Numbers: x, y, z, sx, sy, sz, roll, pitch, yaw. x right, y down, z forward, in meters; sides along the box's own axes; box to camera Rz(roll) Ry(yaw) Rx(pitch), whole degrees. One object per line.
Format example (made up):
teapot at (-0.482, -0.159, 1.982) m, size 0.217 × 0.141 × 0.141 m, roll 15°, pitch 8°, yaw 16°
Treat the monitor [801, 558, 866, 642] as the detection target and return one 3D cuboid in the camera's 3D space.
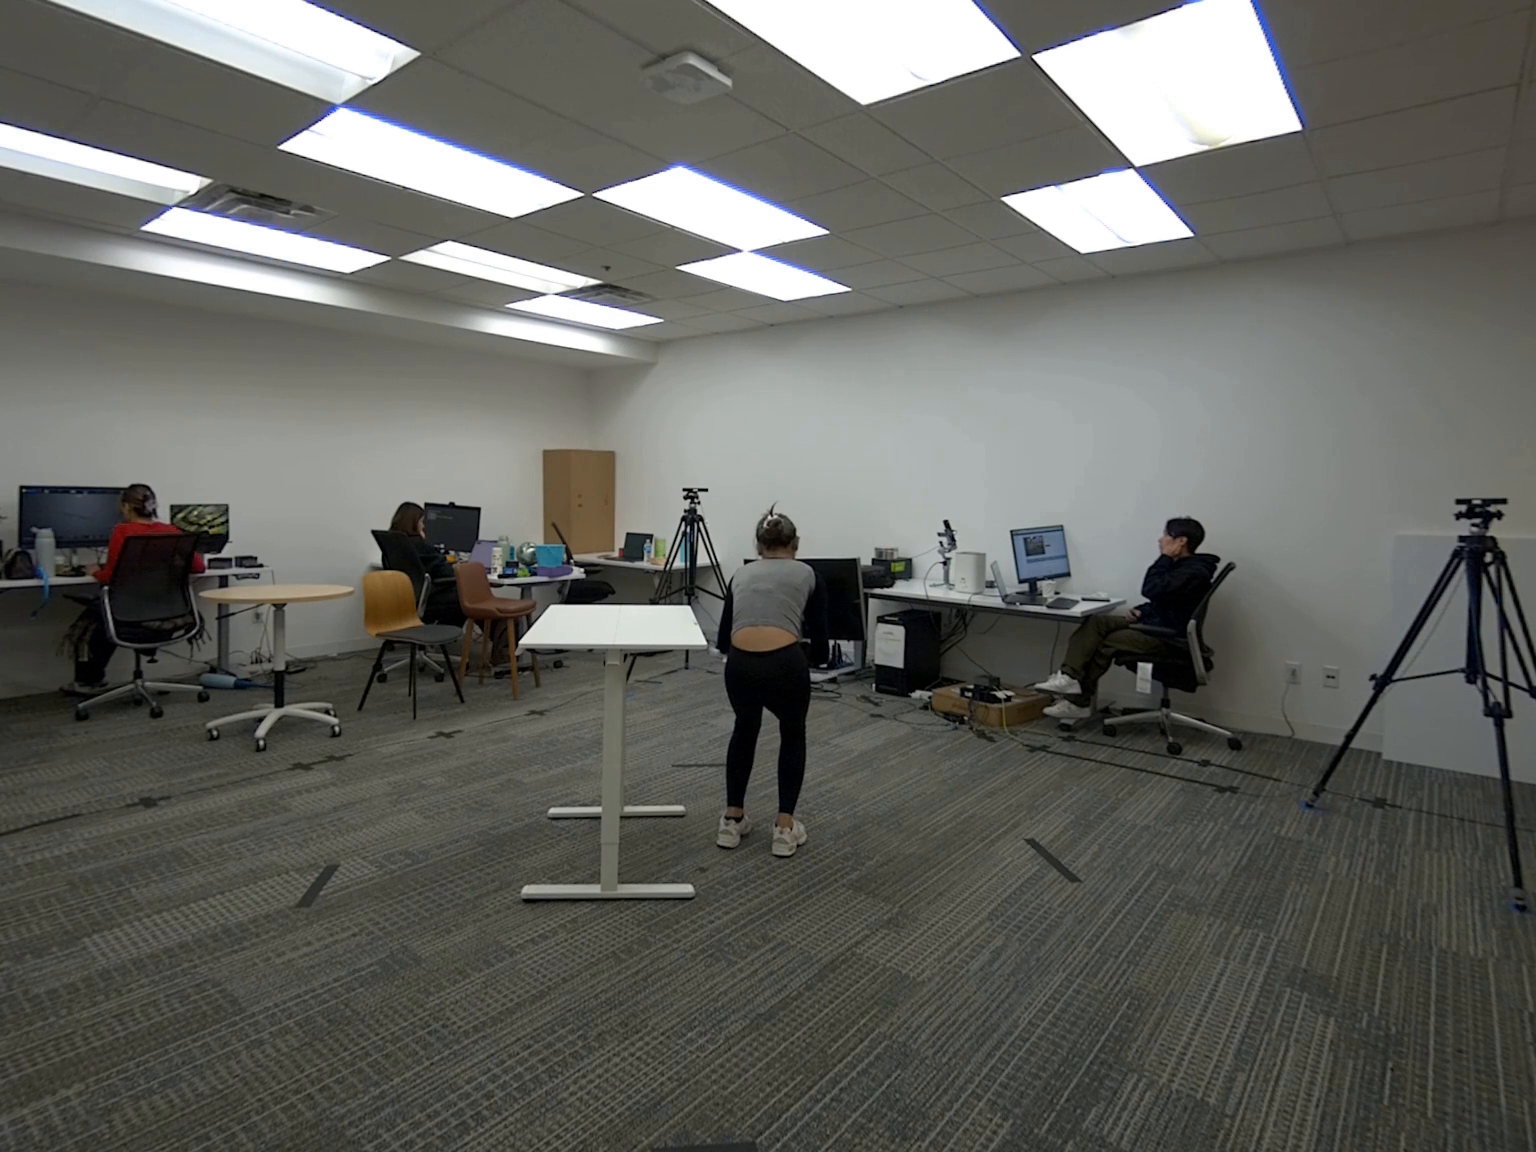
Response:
monitor at (0.134, 0.185, 3.674) m, size 0.554 × 0.523 × 0.182 m, roll -1°, pitch -1°, yaw 31°
